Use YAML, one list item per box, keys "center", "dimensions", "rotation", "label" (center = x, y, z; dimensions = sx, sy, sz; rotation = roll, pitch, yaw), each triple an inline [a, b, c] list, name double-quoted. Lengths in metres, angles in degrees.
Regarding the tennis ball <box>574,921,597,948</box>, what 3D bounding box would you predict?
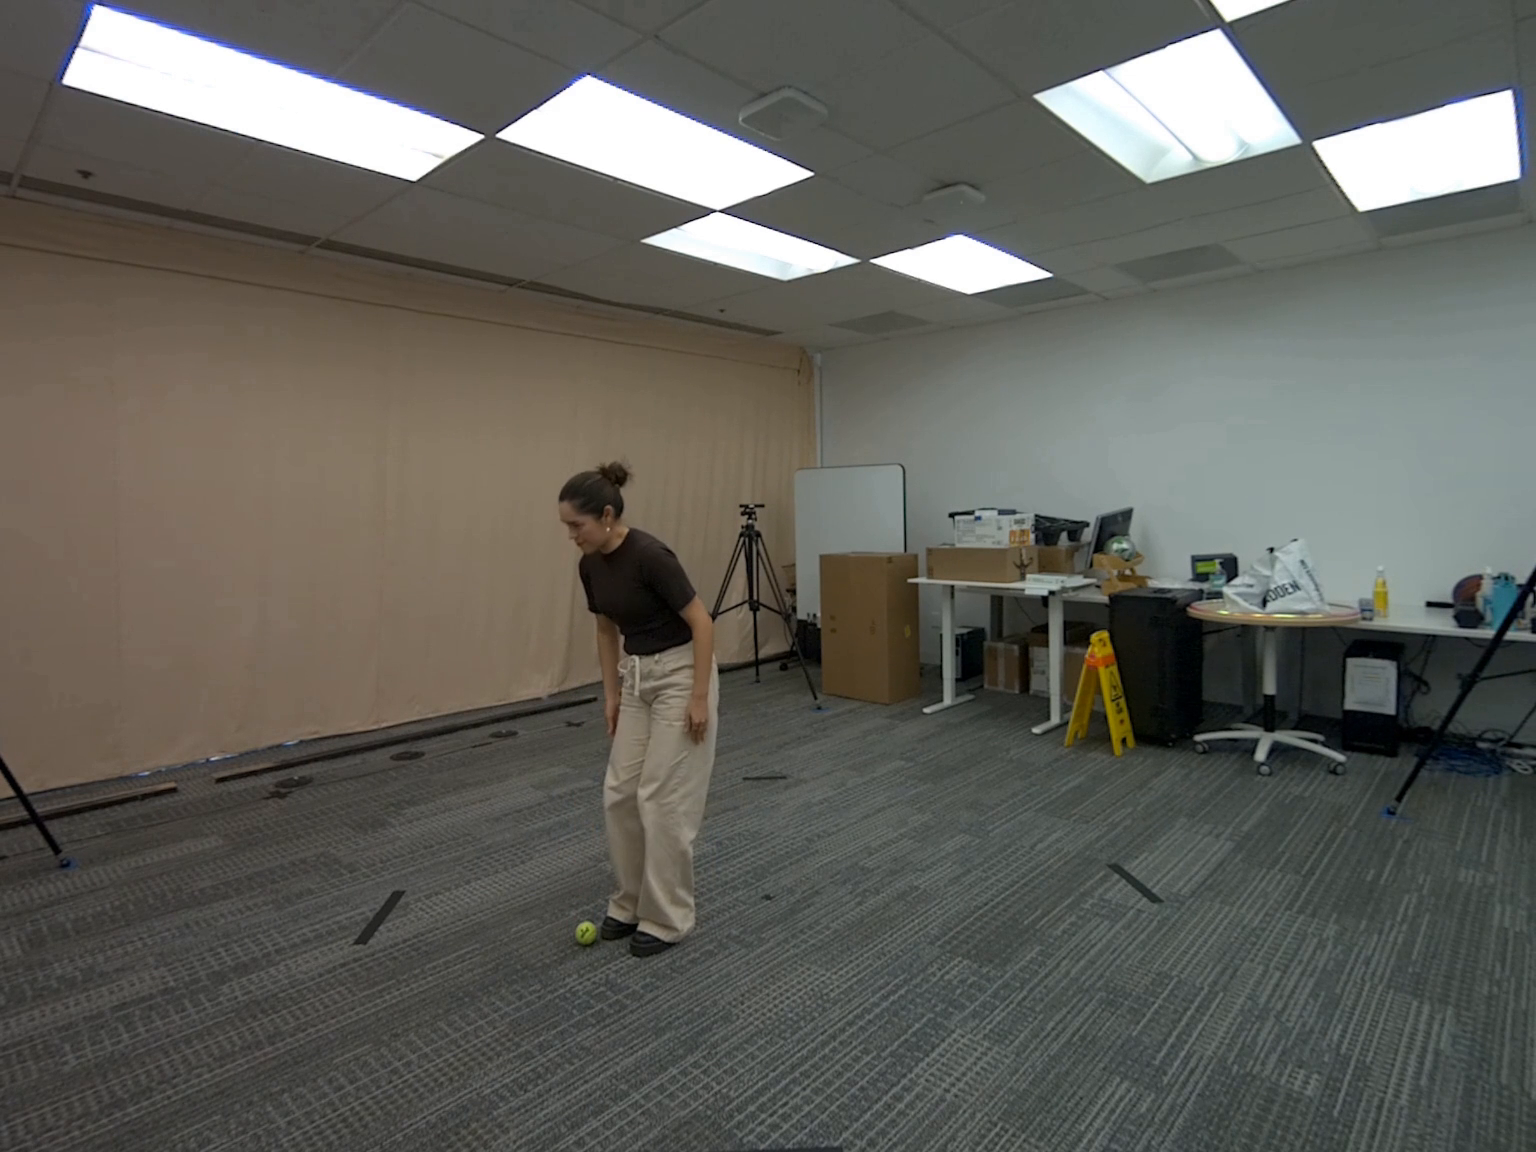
- center: [-0.575, 1.143, 2.684]
  dimensions: [0.066, 0.066, 0.067]
  rotation: [-1, 4, -2]
  label: "tennis ball"
